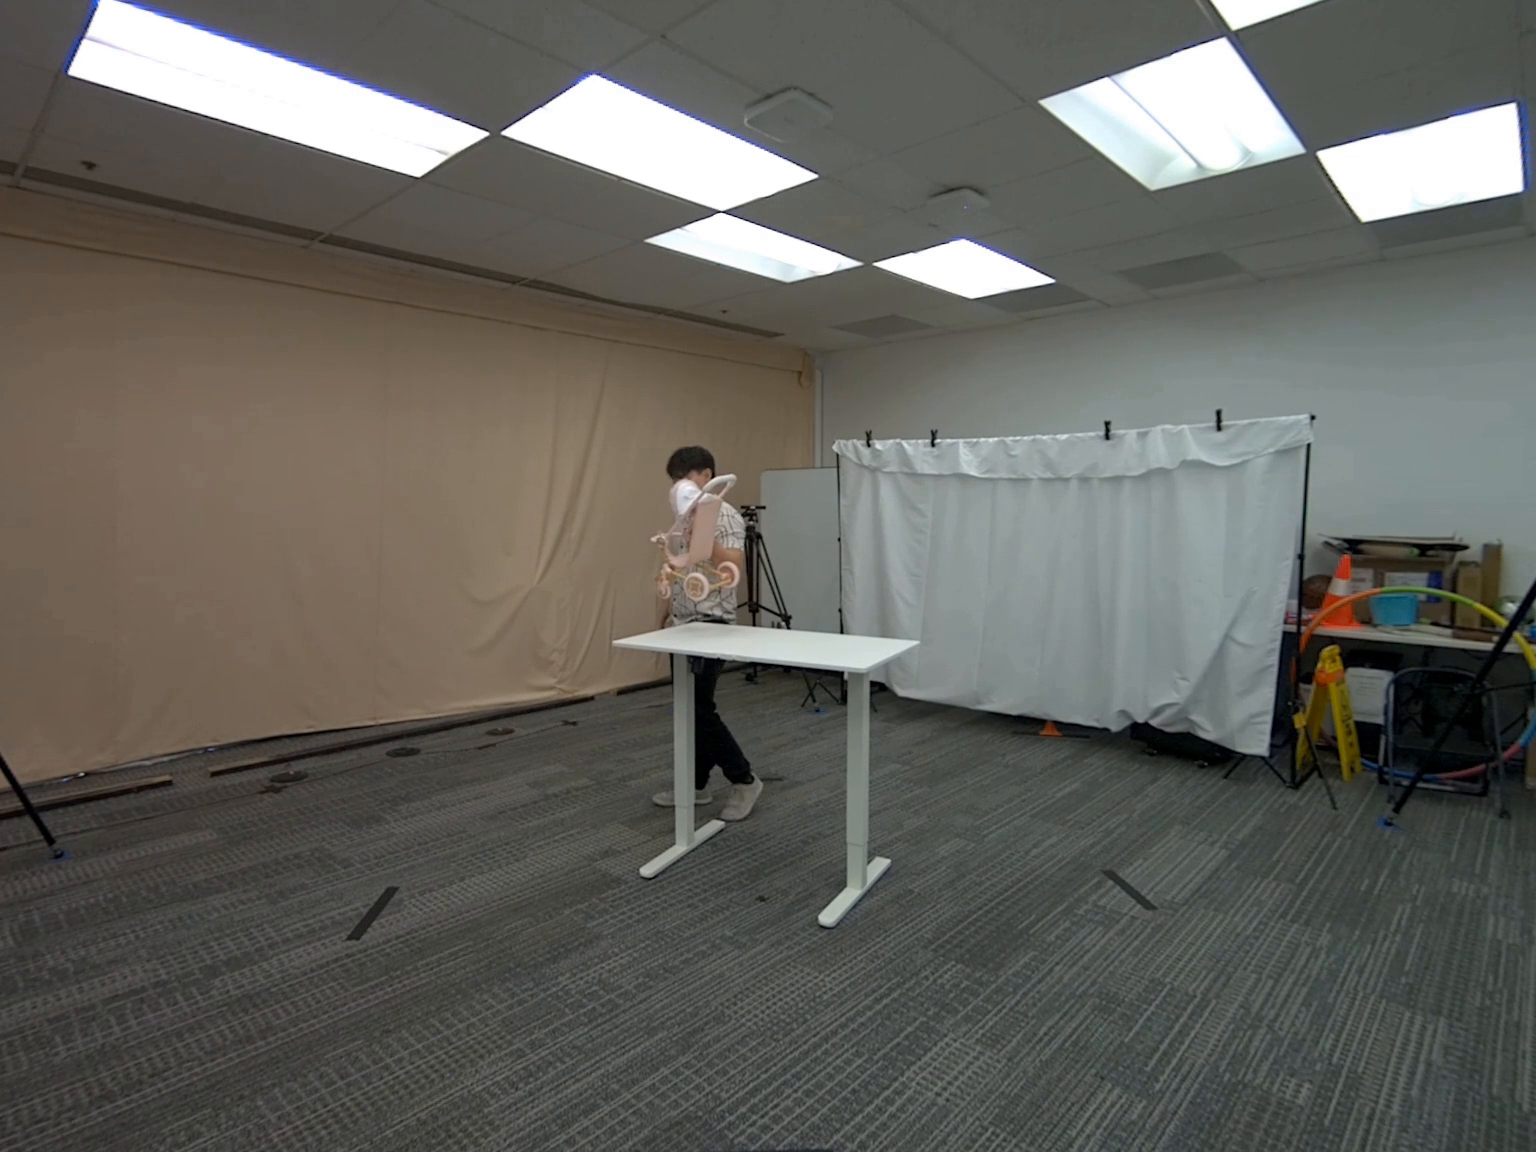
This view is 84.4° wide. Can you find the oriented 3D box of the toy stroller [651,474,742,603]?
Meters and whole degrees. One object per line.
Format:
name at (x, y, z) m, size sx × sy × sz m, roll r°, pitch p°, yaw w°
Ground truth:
toy stroller at (-0.310, -0.143, 3.397) m, size 0.352 × 0.531 × 0.275 m, roll 9°, pitch 15°, yaw 33°
